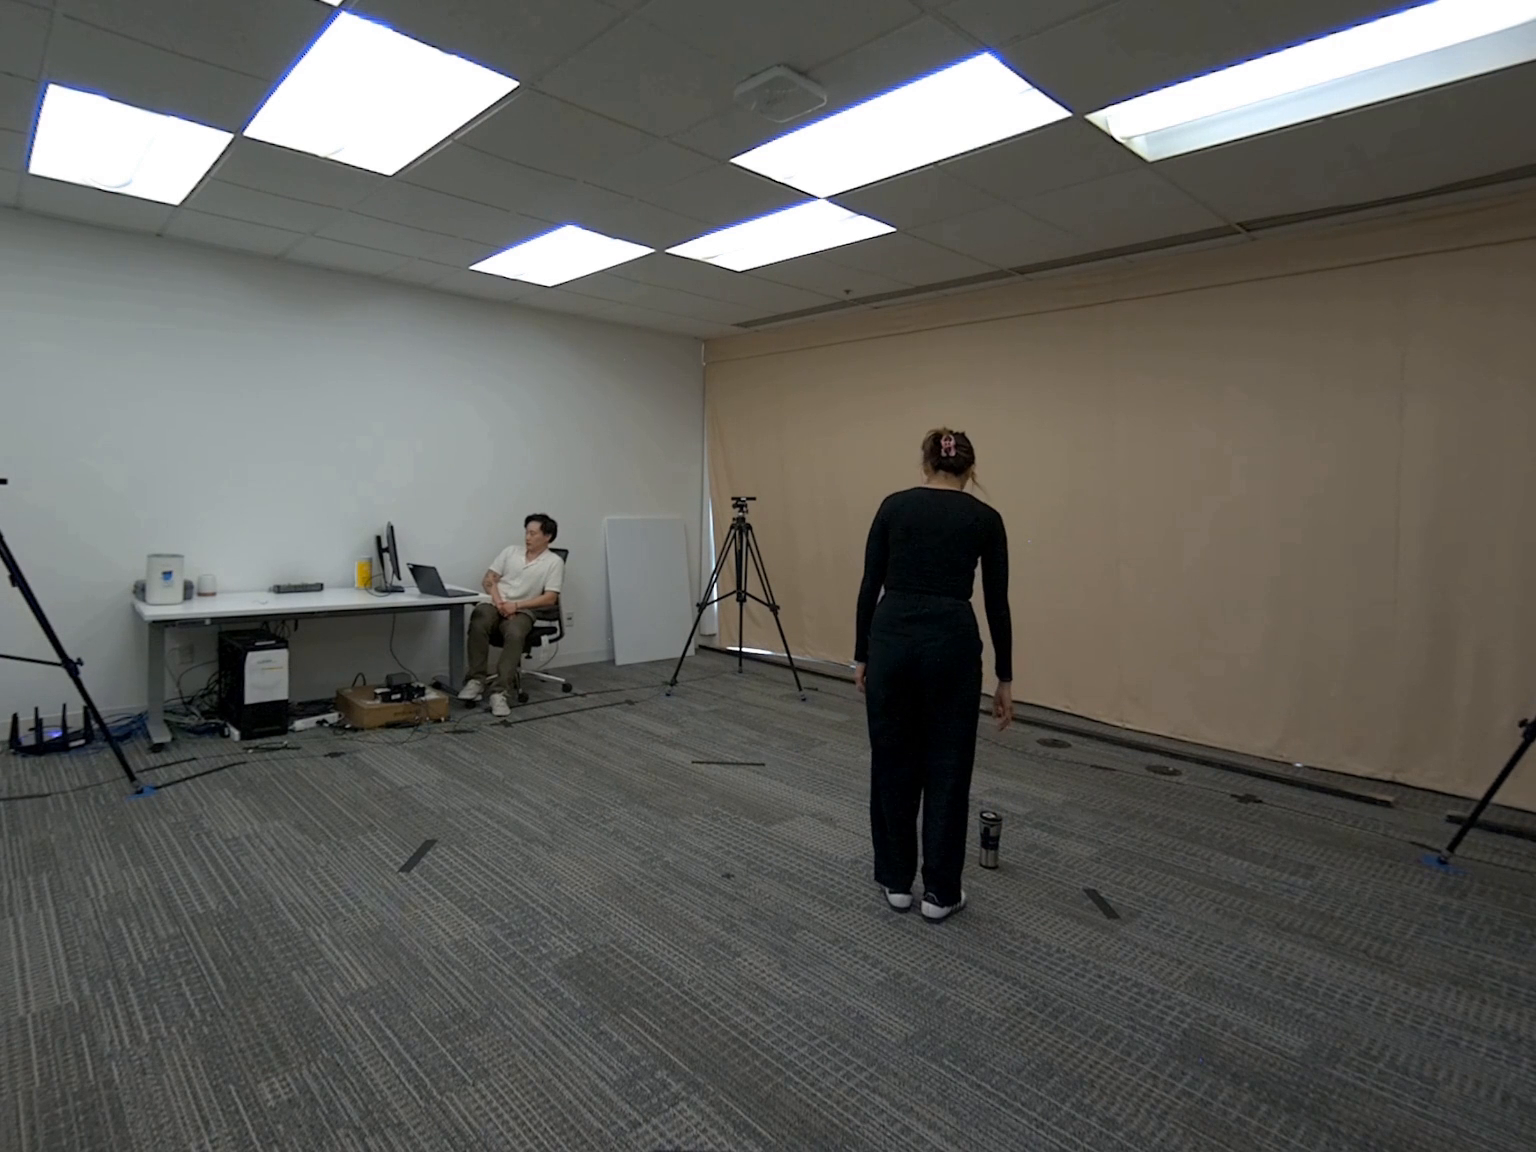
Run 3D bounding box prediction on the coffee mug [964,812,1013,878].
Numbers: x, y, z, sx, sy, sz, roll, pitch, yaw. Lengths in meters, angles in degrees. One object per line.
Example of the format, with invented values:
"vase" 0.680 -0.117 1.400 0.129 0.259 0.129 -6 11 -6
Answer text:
"coffee mug" 0.841 1.025 3.239 0.119 0.202 0.090 4 7 -36
